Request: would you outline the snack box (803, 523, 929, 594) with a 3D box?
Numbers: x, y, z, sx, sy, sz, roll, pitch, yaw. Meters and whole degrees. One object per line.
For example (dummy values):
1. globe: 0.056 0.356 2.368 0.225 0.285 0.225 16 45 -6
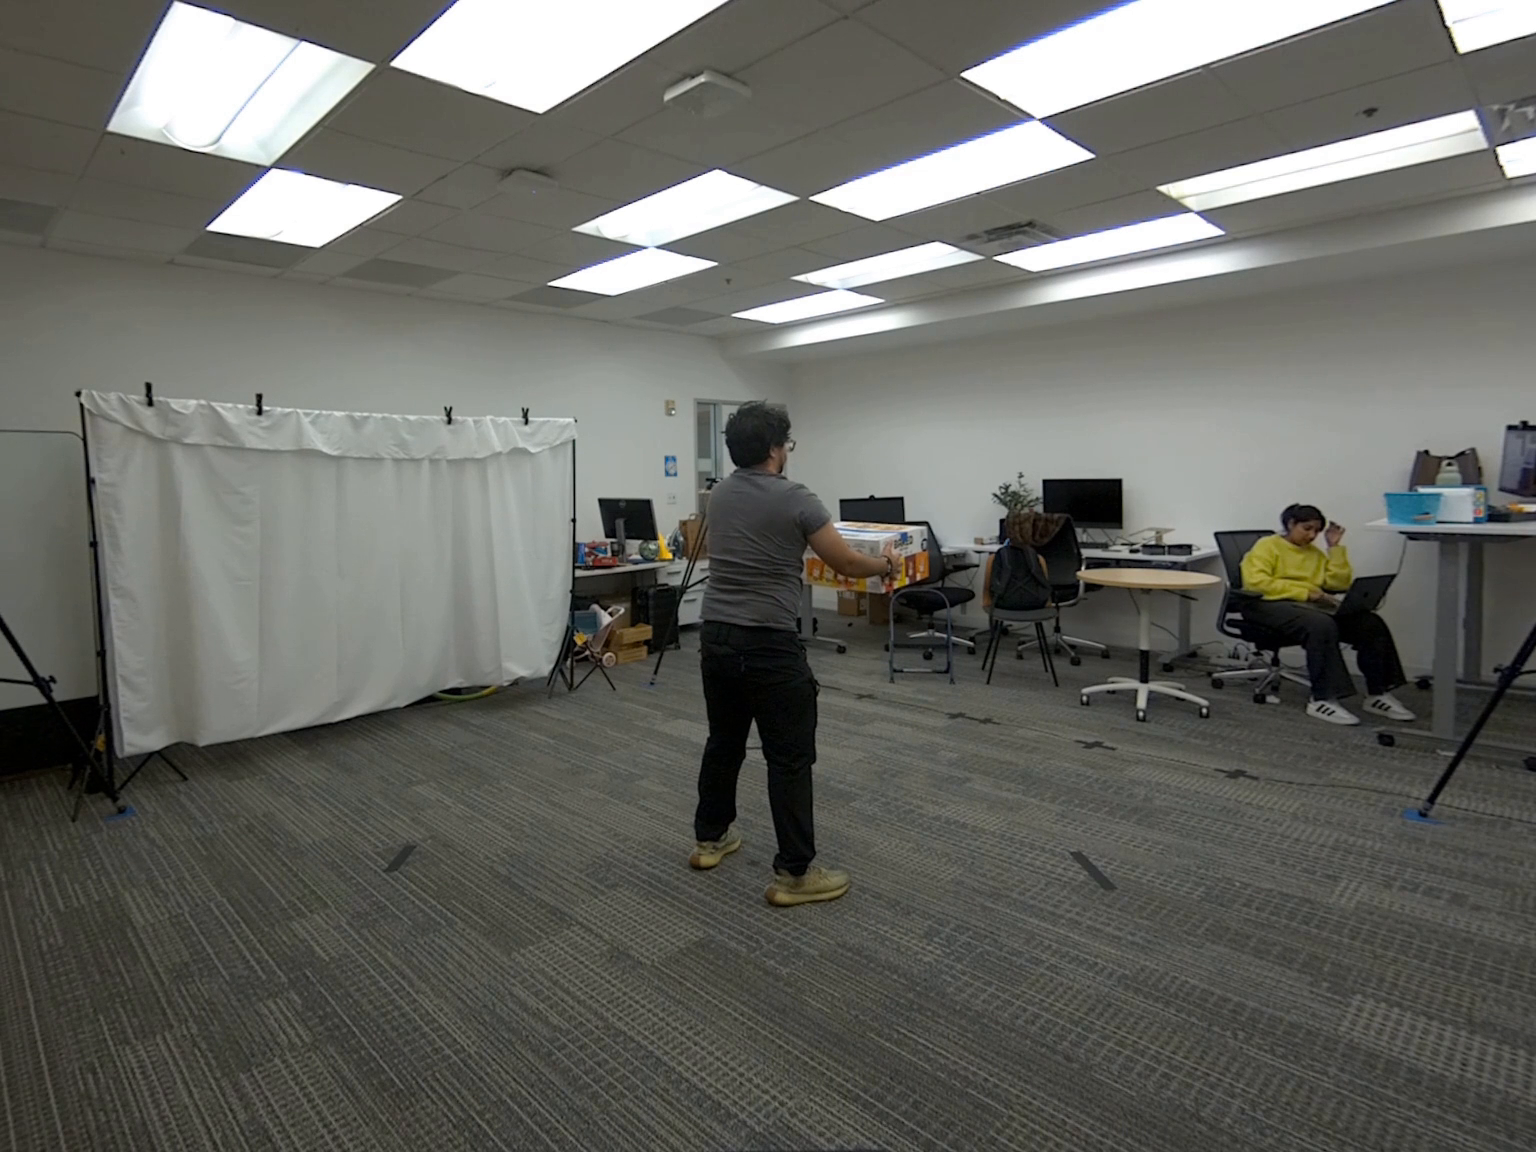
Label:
1. snack box: 0.368 -0.082 3.375 0.418 0.204 0.333 6 13 41
